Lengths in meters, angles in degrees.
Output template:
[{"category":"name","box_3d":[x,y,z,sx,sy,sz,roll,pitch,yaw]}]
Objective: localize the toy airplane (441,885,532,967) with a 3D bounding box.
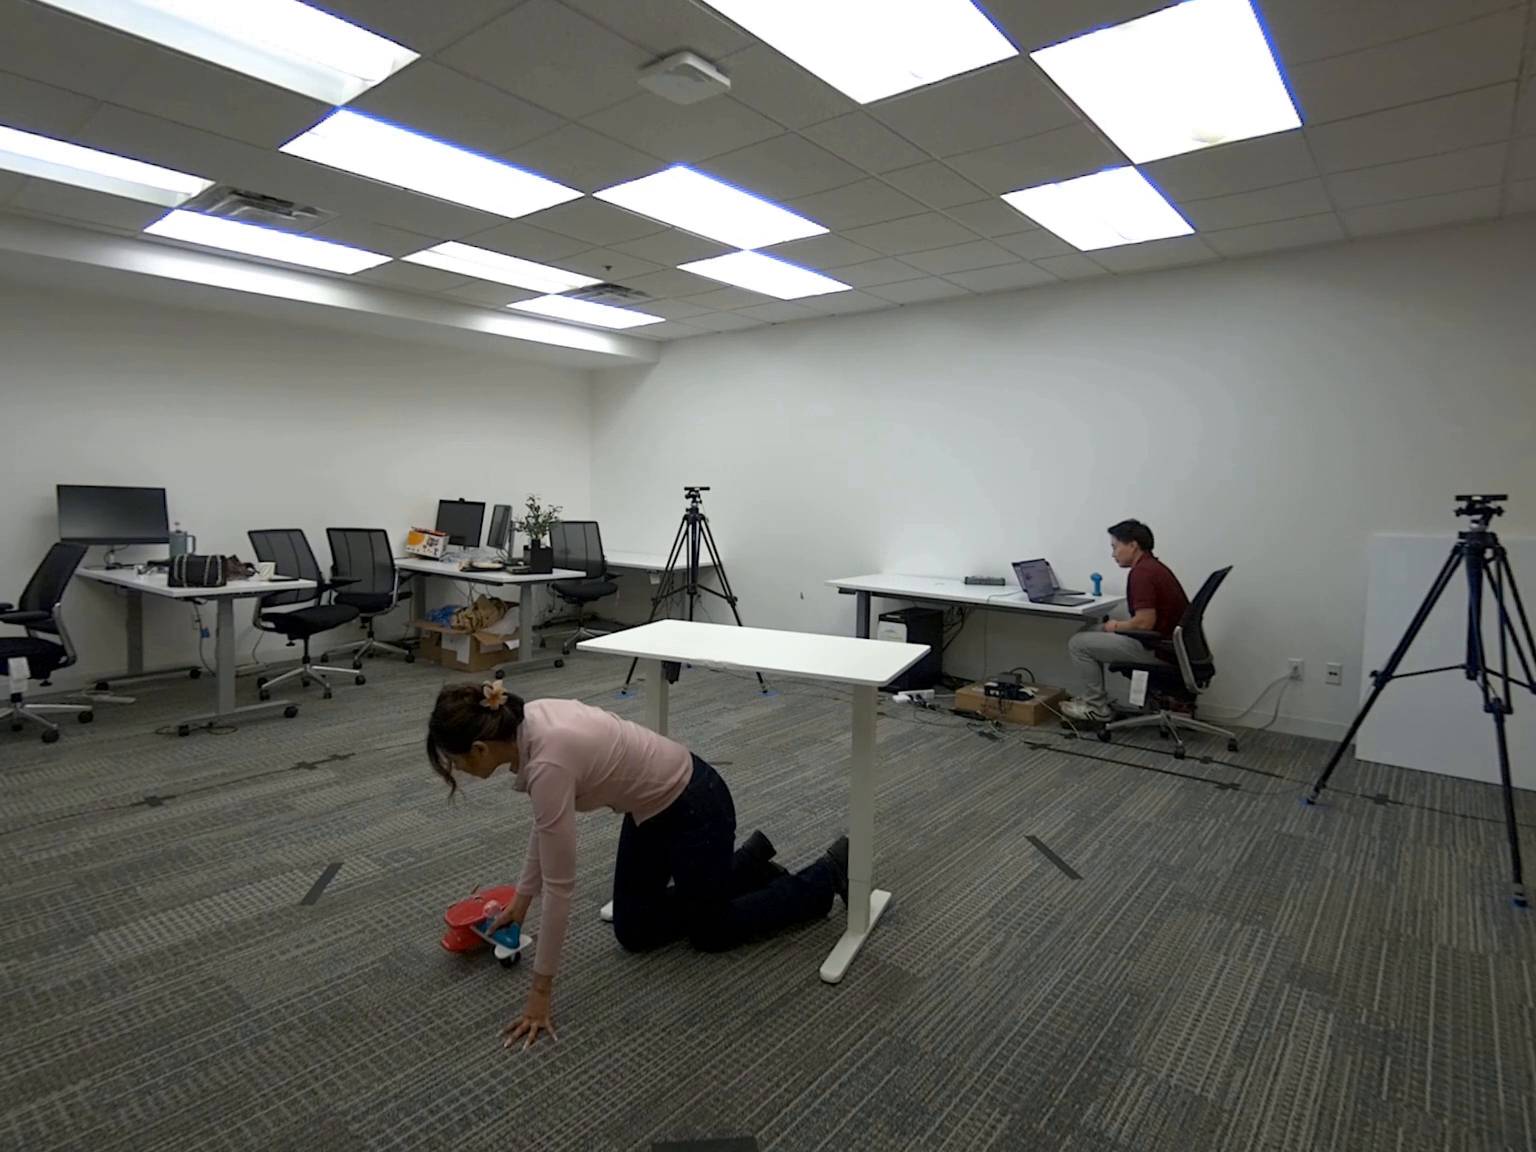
[{"category":"toy airplane","box_3d":[-0.830,1.042,2.547,0.261,0.156,0.251,-1,5,5]}]
